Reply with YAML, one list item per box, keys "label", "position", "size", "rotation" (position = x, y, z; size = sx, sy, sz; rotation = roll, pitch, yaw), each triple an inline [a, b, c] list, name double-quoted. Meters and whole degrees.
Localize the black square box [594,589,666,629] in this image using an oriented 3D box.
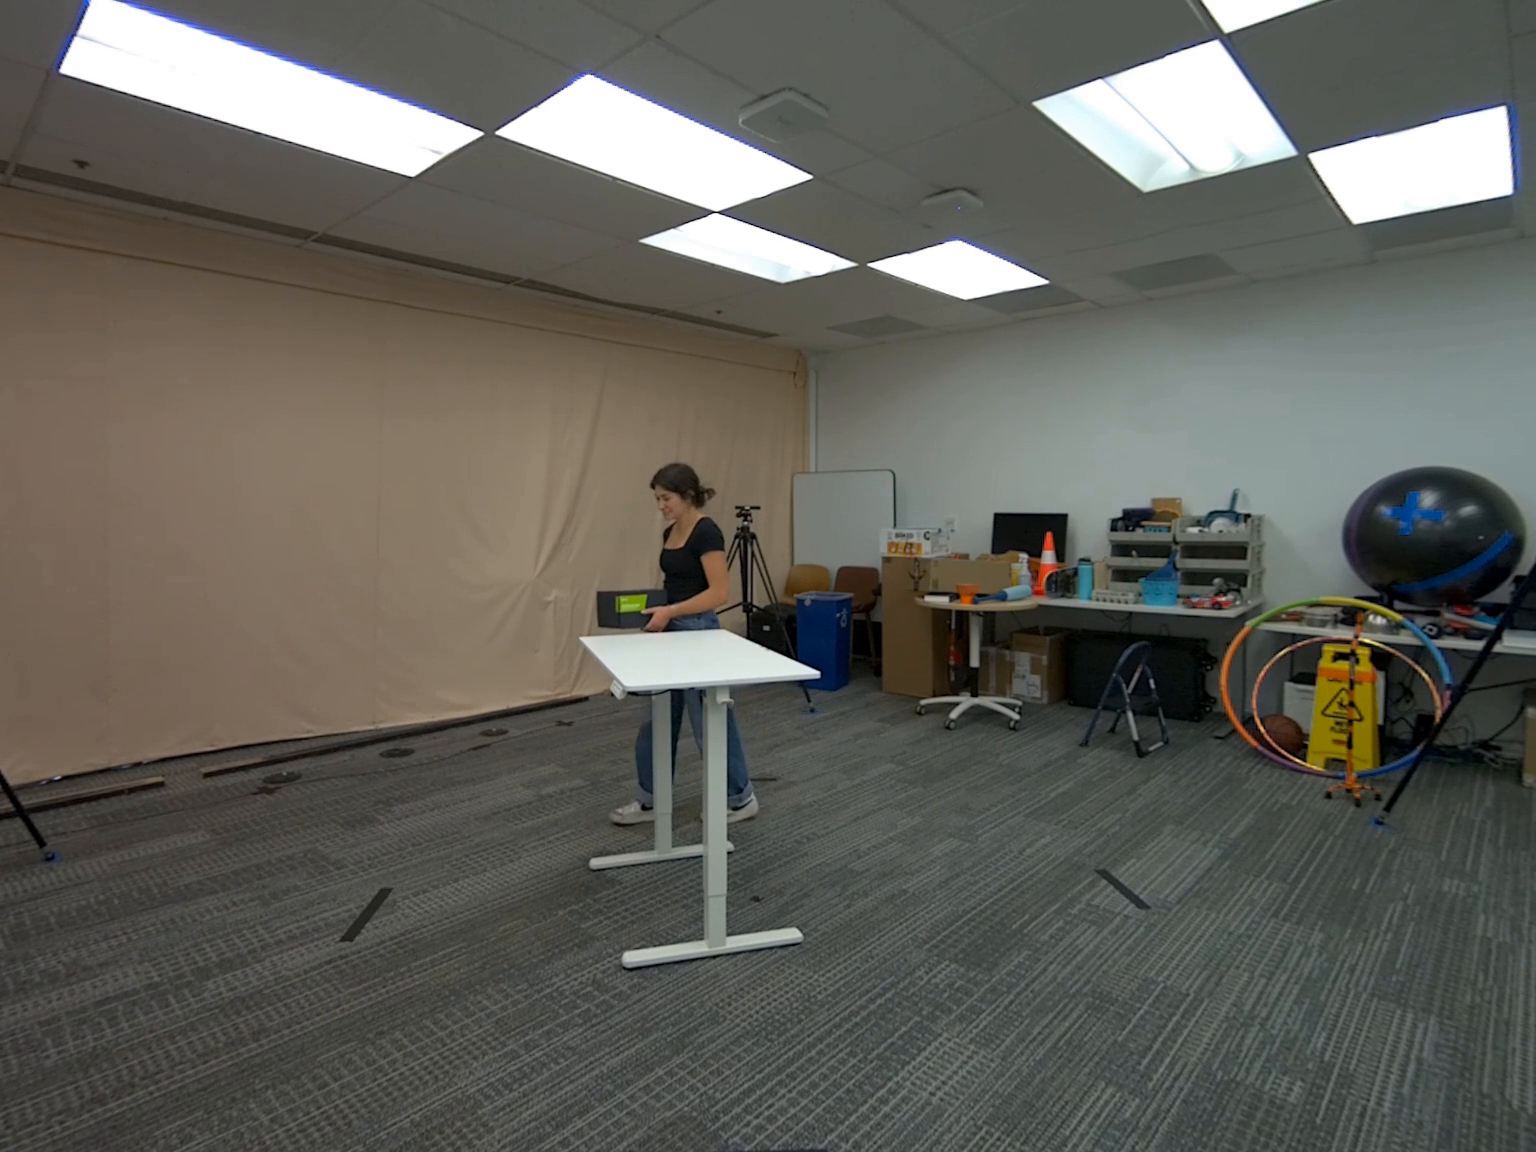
- label: "black square box"
  position: [-0.580, 0.136, 3.567]
  size: [0.221, 0.156, 0.223]
  rotation: [0, -3, -35]
